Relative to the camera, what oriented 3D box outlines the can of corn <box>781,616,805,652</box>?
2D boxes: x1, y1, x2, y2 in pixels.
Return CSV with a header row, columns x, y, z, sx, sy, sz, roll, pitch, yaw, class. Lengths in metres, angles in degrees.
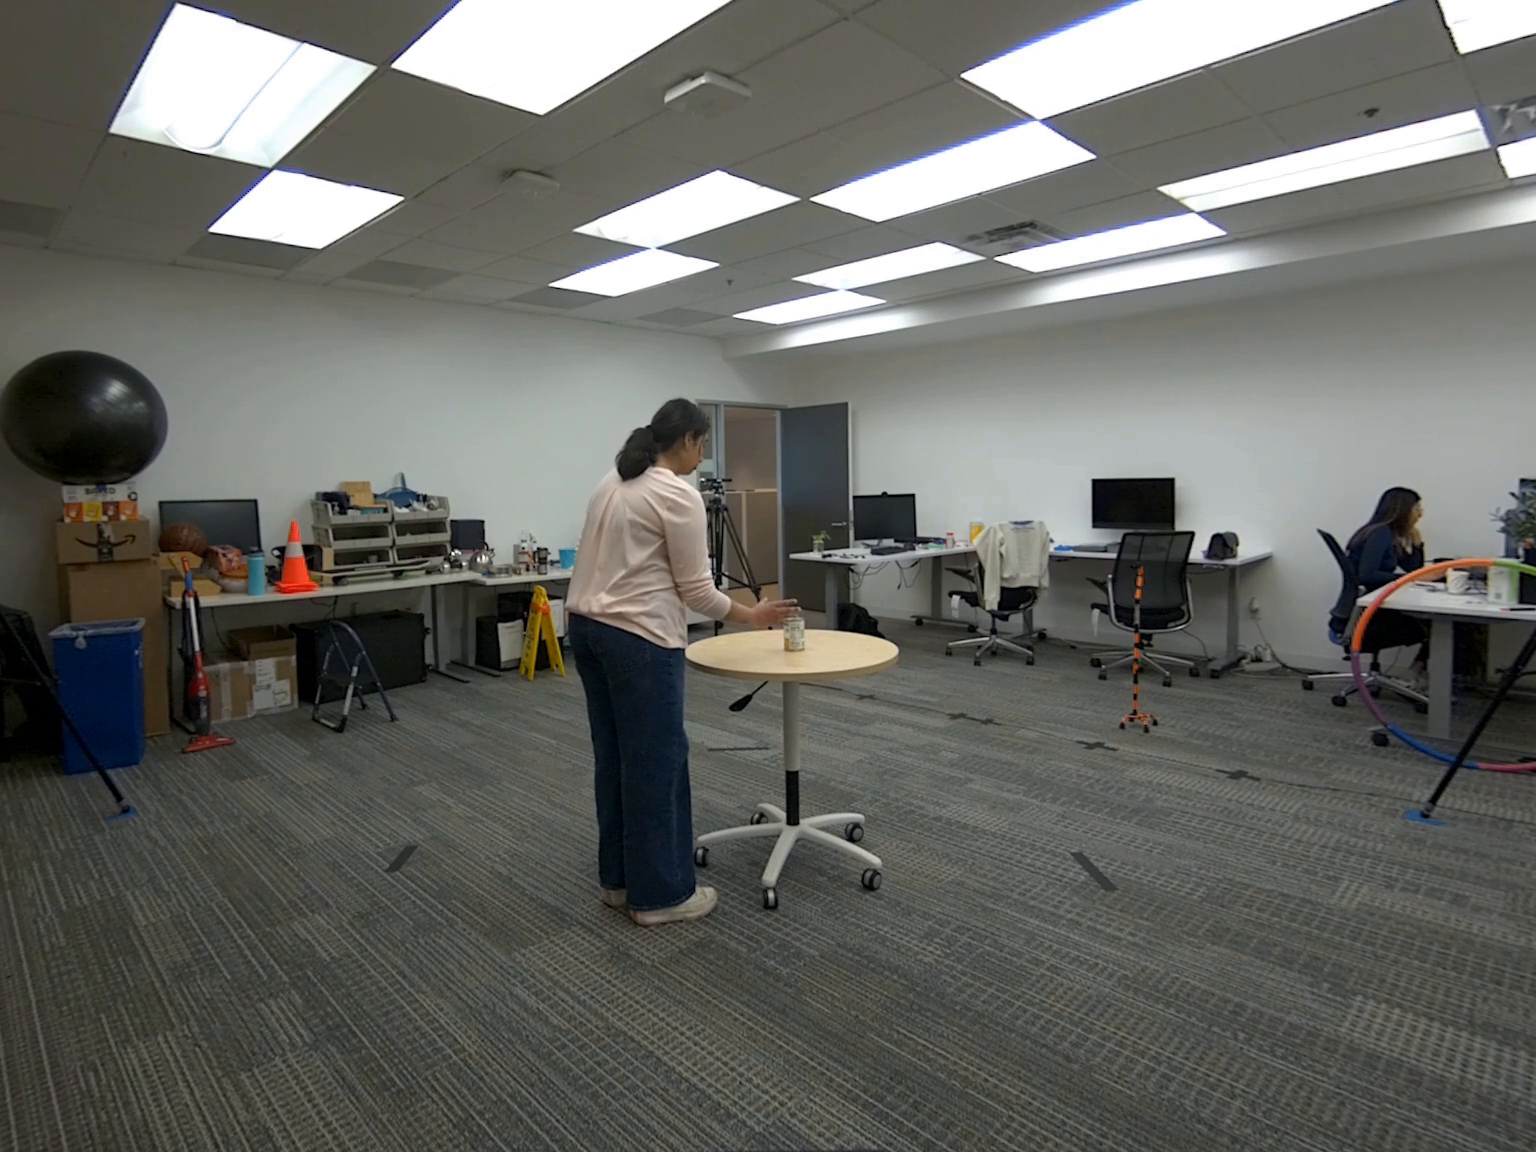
x,y,z,sx,sy,sz,roll,pitch,yaw,class
0.094,0.209,3.046,0.074,0.110,0.074,-1,6,-2,can of corn
